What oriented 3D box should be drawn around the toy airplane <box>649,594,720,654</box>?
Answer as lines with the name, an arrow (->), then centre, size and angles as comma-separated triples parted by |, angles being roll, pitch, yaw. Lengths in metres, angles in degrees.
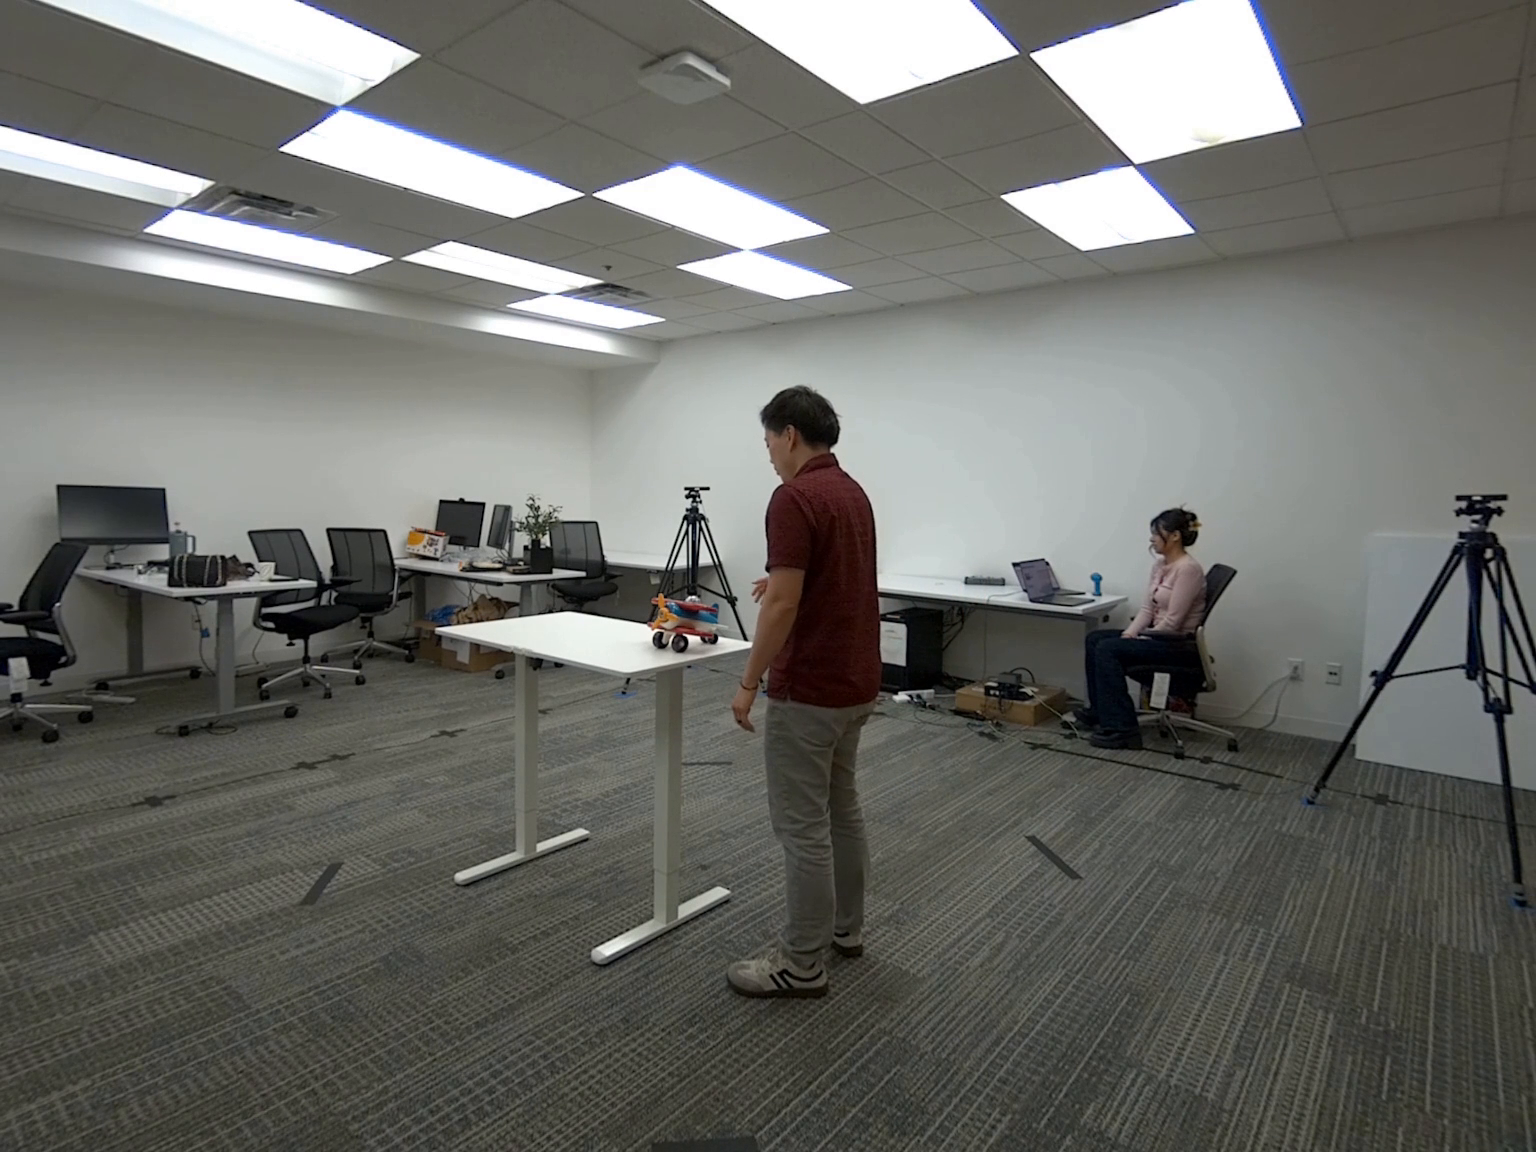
toy airplane -> -0.278, 0.142, 2.729 | 0.255, 0.155, 0.257 | 3, 8, 13
